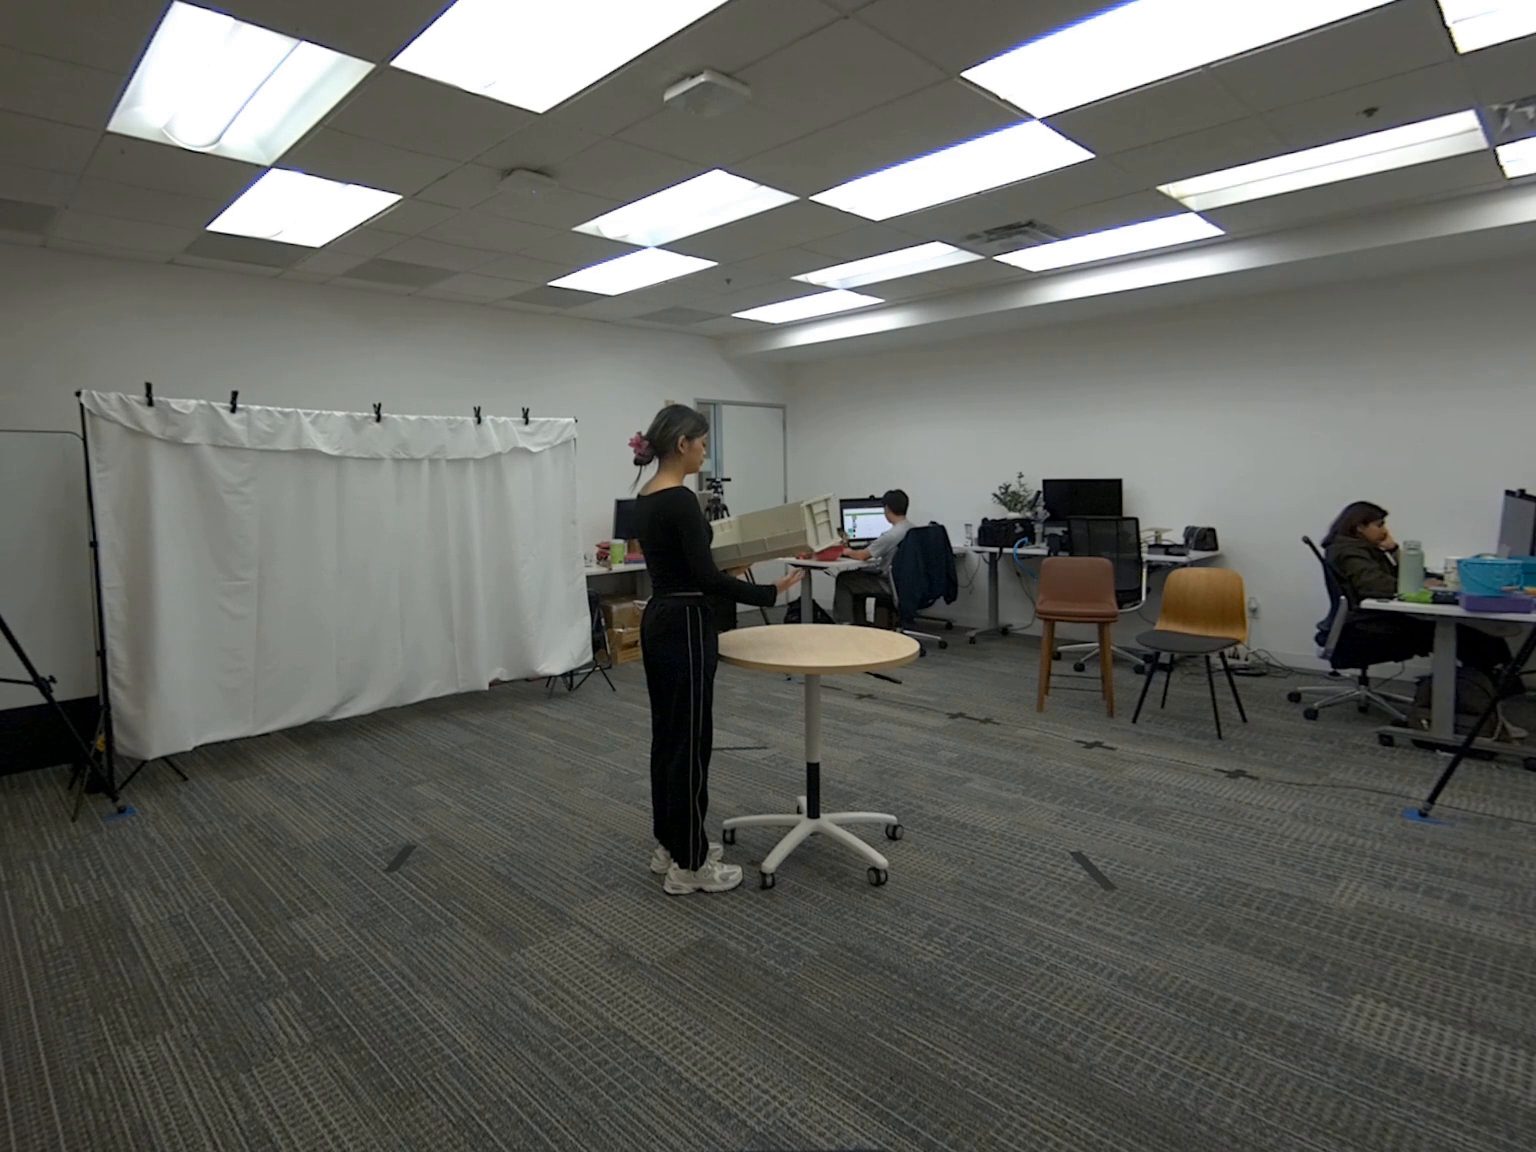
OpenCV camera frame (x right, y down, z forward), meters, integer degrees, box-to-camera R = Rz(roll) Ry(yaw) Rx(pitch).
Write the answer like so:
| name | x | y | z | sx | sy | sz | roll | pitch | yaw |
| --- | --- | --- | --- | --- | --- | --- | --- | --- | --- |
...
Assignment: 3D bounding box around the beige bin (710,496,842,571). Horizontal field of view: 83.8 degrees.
| name | x | y | z | sx | sy | sz | roll | pitch | yaw |
| --- | --- | --- | --- | --- | --- | --- | --- | --- | --- |
| beige bin | 0.015 | -0.153 | 3.134 | 0.430 | 0.189 | 0.371 | -12 | 3 | 25 |
